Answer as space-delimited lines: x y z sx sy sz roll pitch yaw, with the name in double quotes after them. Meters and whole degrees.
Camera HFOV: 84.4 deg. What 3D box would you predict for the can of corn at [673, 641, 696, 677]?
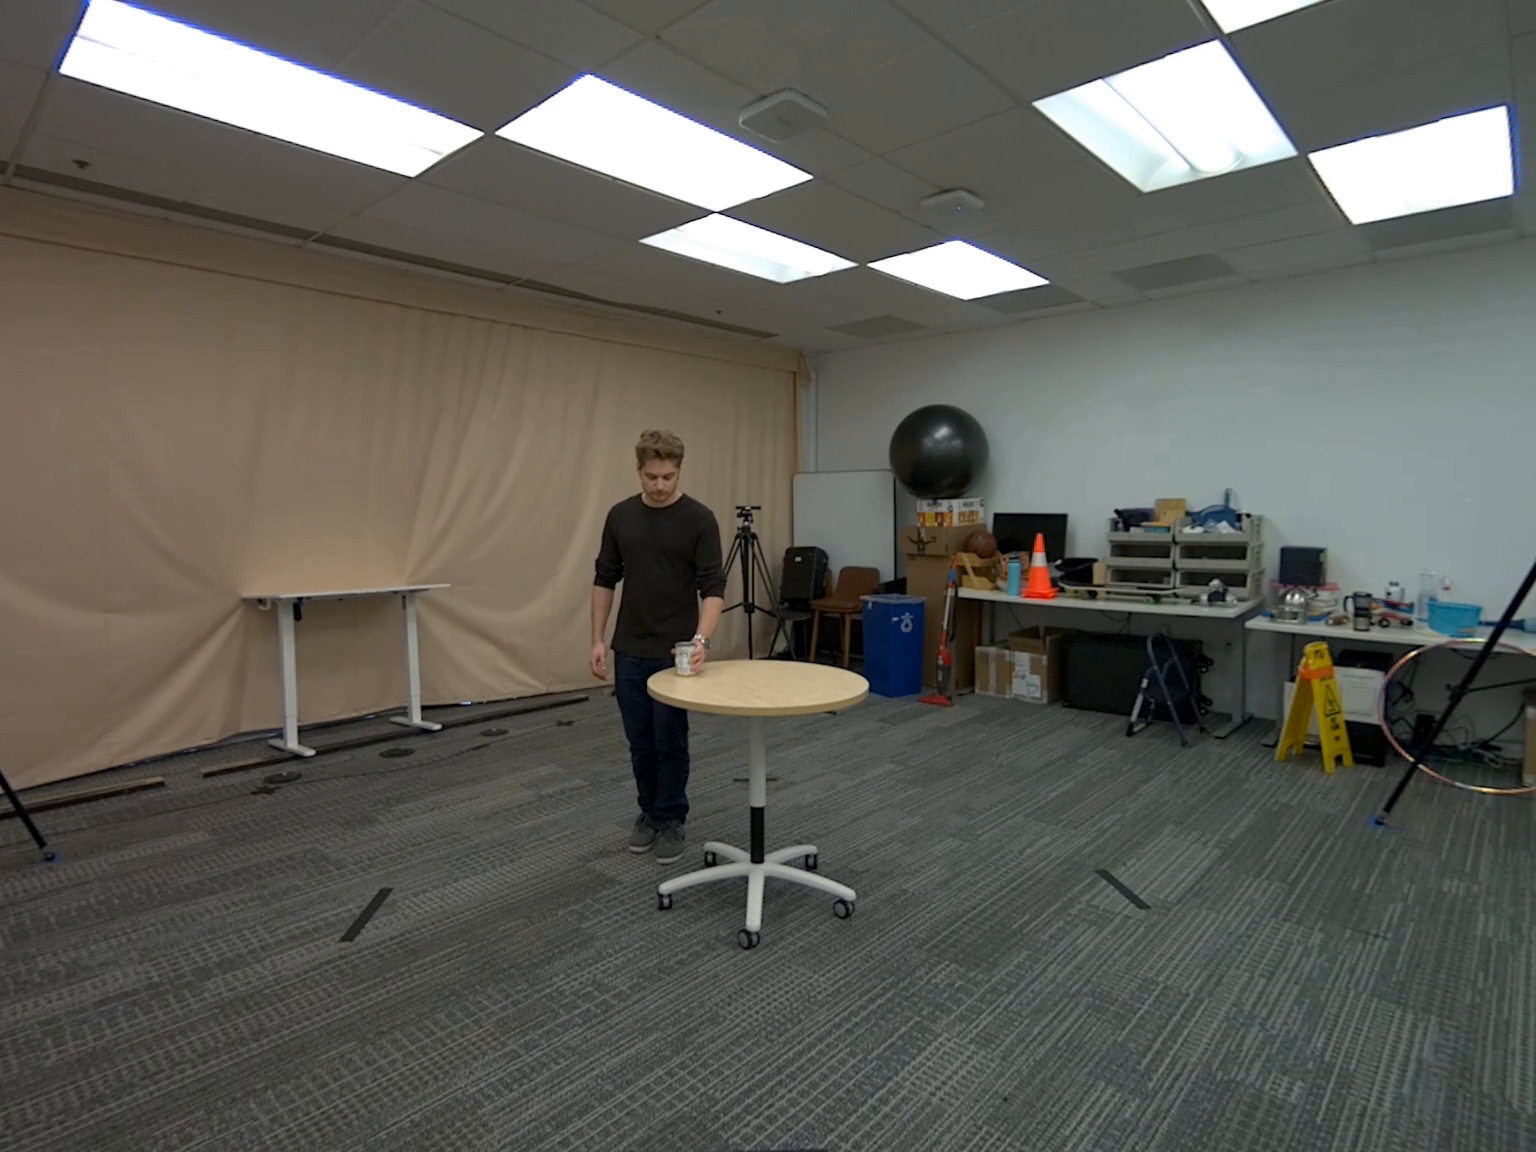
-0.292 0.299 3.022 0.074 0.111 0.074 -1 1 -2 "can of corn"
